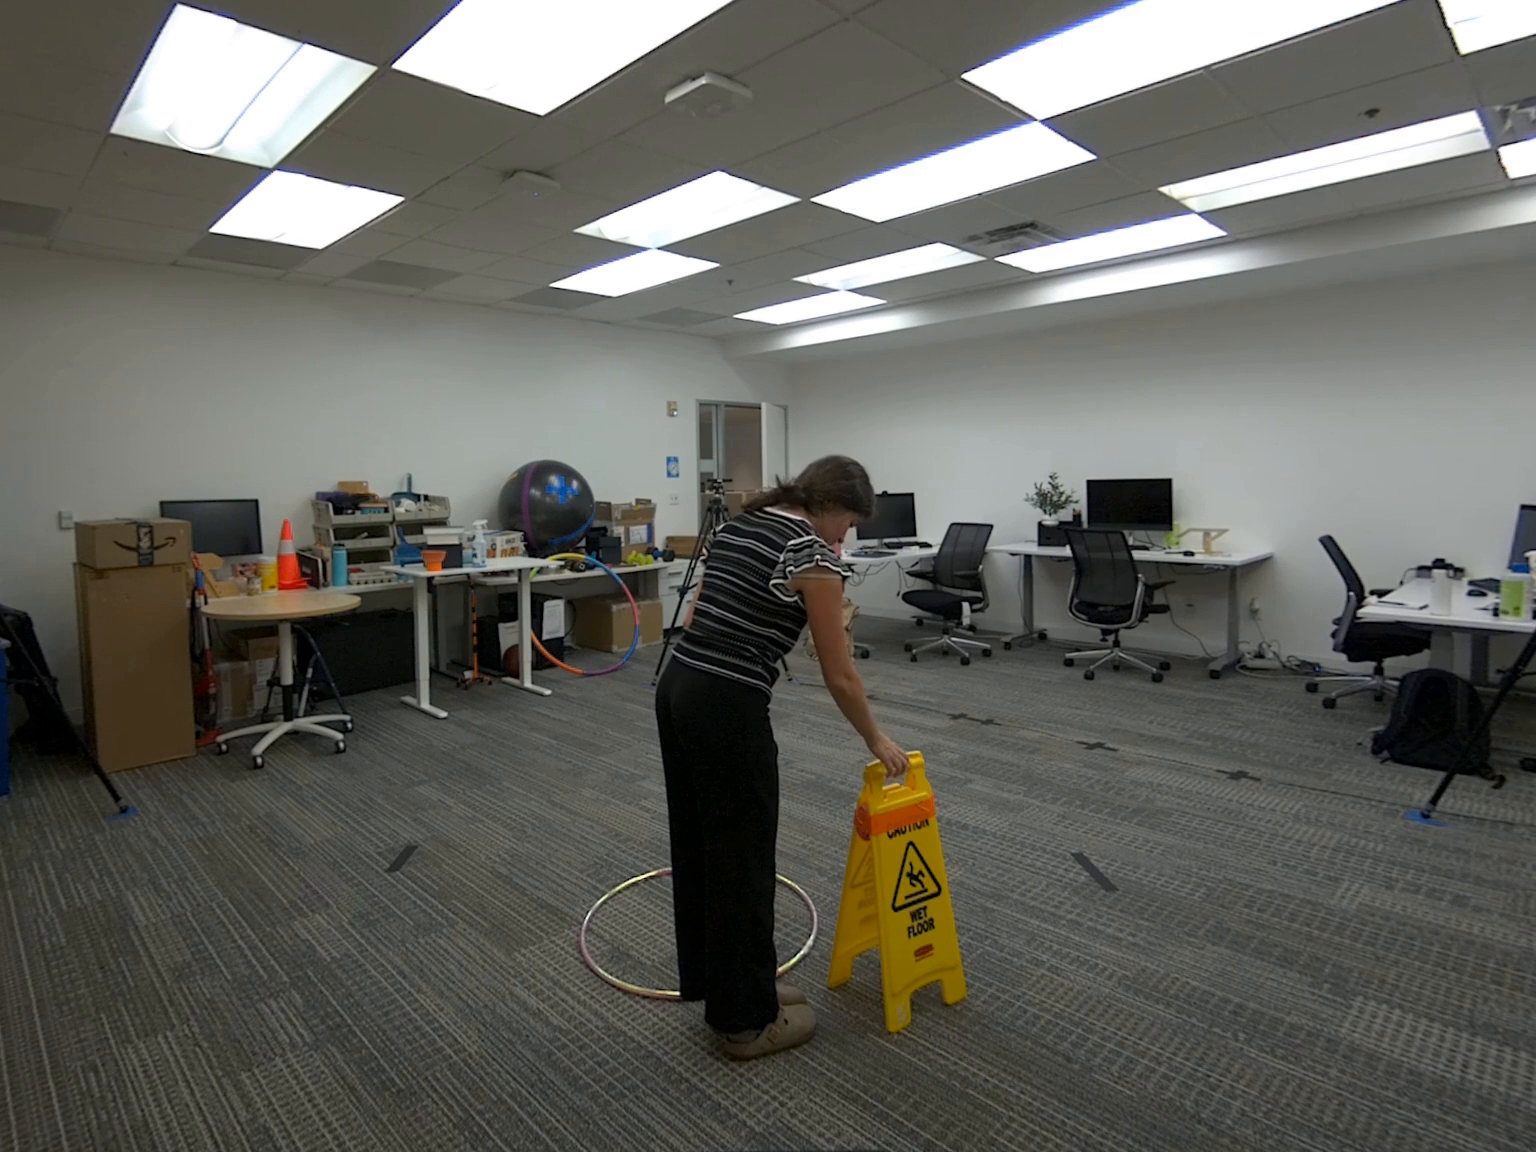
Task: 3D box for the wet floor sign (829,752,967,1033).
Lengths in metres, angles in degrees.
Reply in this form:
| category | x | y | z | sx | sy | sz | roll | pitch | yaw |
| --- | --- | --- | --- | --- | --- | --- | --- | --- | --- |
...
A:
| category | x | y | z | sx | sy | sz | roll | pitch | yaw |
| --- | --- | --- | --- | --- | --- | --- | --- | --- | --- |
| wet floor sign | 0.345 | 0.806 | 2.296 | 0.275 | 0.644 | 0.298 | -3 | 4 | -34 |
